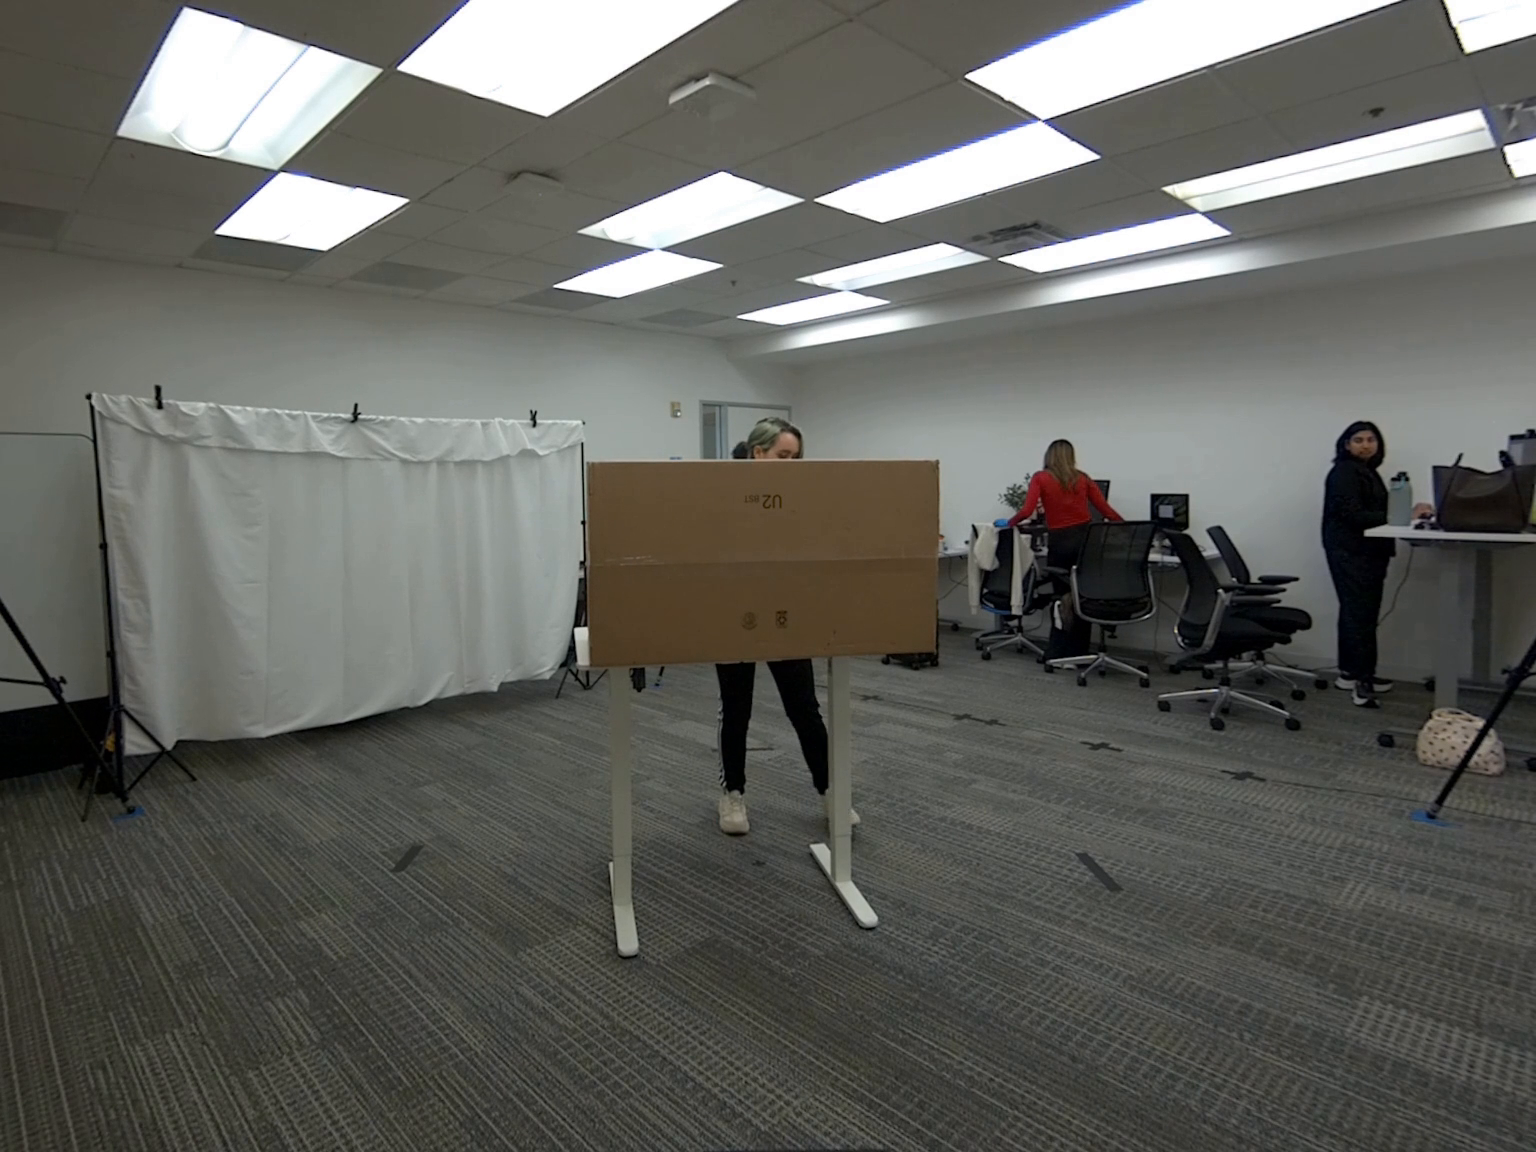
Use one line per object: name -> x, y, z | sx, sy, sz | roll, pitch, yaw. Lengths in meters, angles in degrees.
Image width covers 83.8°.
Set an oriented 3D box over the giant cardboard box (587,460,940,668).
giant cardboard box -> -0.042, -0.069, 2.638 | 1.017, 0.581, 0.453 | -1, 5, -10
